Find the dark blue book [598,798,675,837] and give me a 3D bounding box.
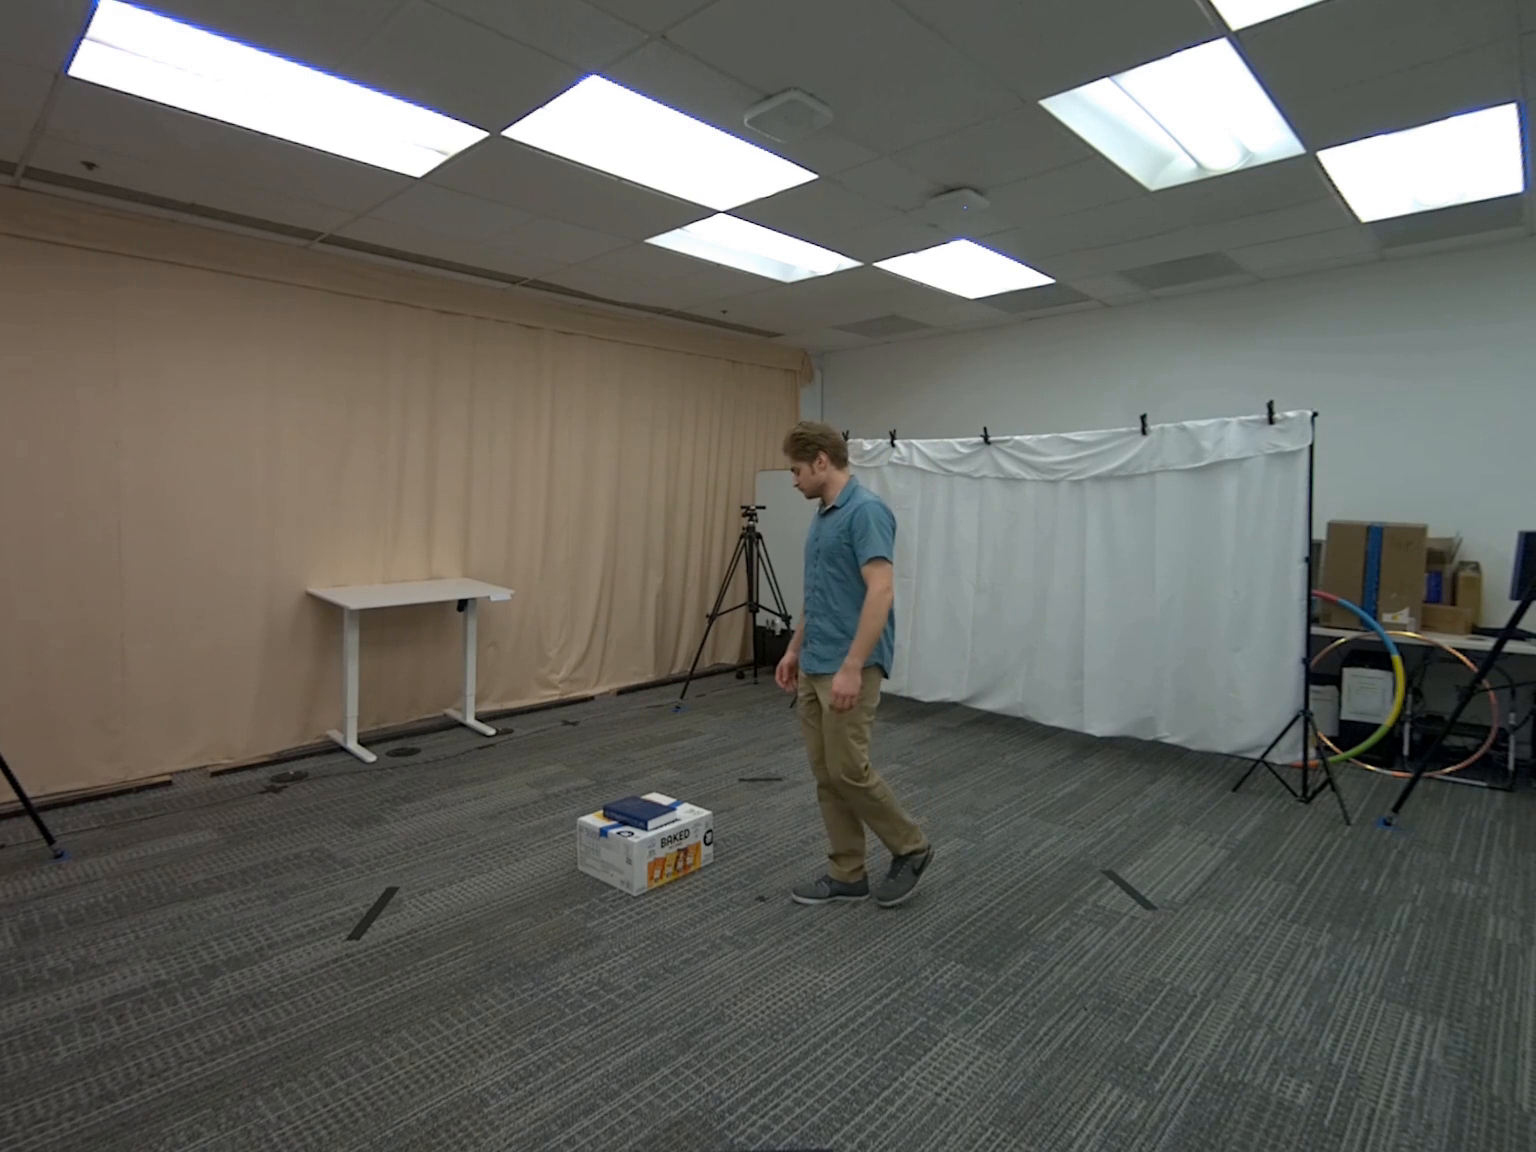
[{"bbox_3d":[-0.504,0.916,3.228,0.253,0.045,0.158,3,5,38],"label":"dark blue book"}]
